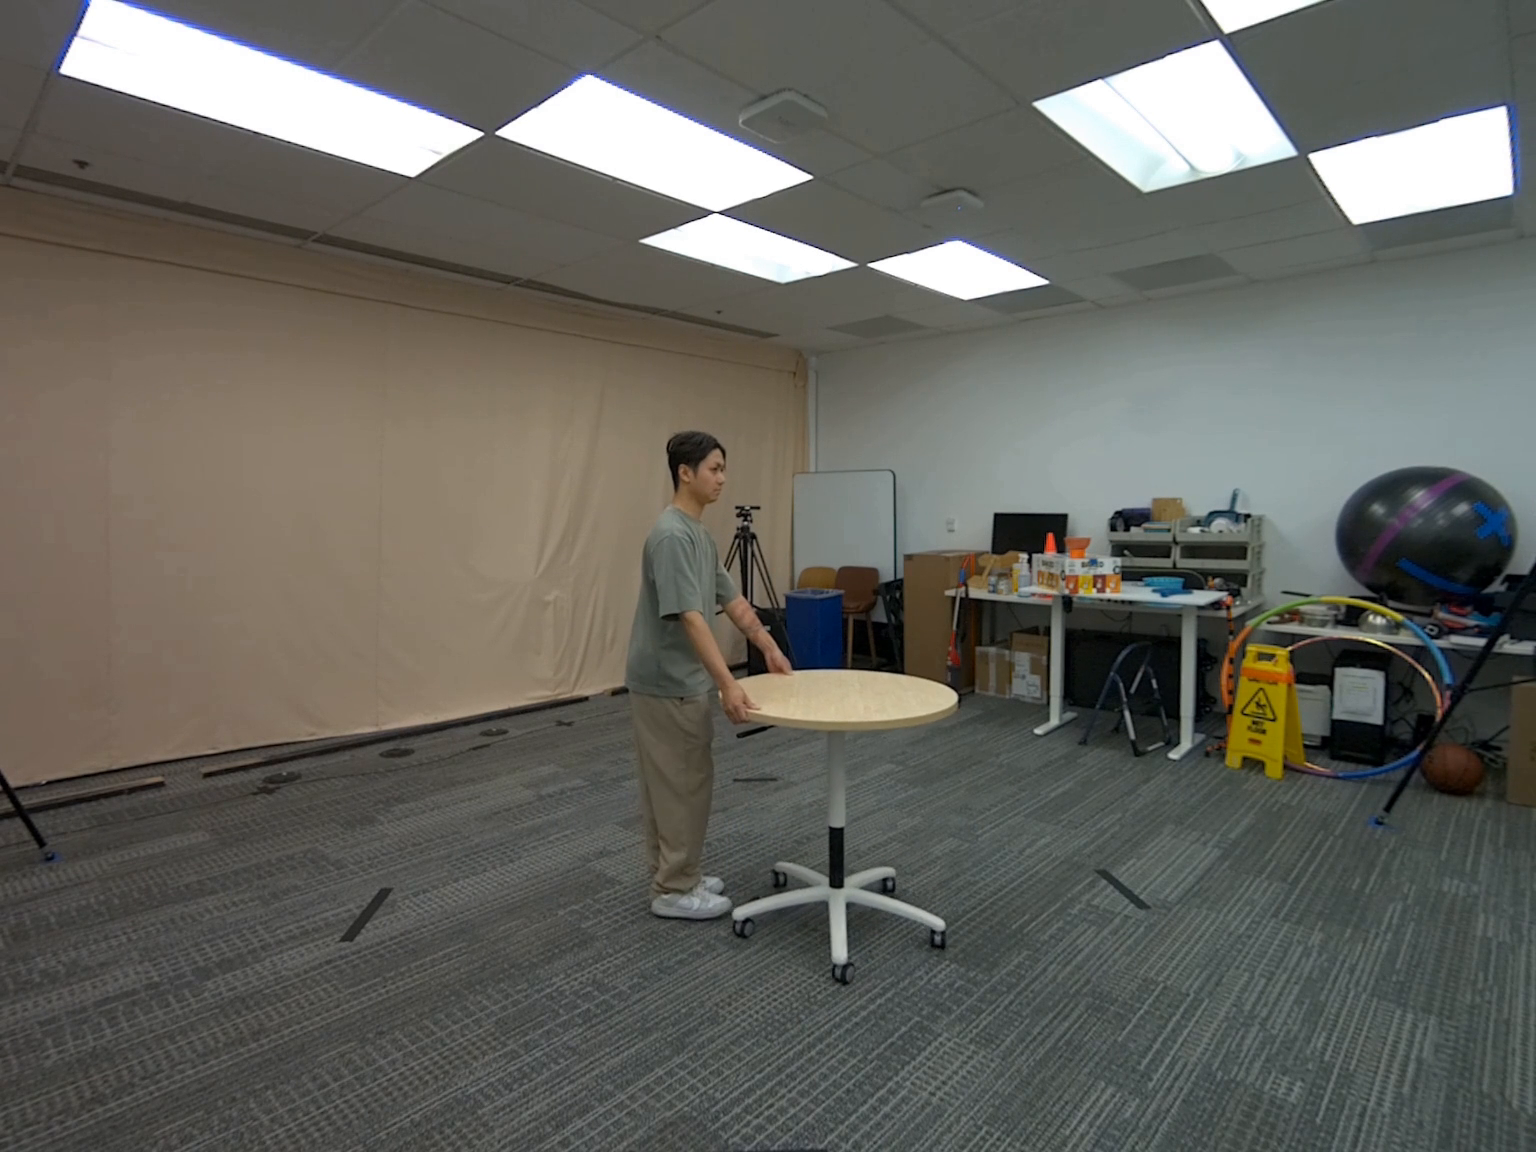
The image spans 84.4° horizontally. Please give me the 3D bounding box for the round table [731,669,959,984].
[{"bbox_3d":[0.243,0.769,2.753,0.784,0.785,0.788,-1,4,-2],"label":"round table"}]
